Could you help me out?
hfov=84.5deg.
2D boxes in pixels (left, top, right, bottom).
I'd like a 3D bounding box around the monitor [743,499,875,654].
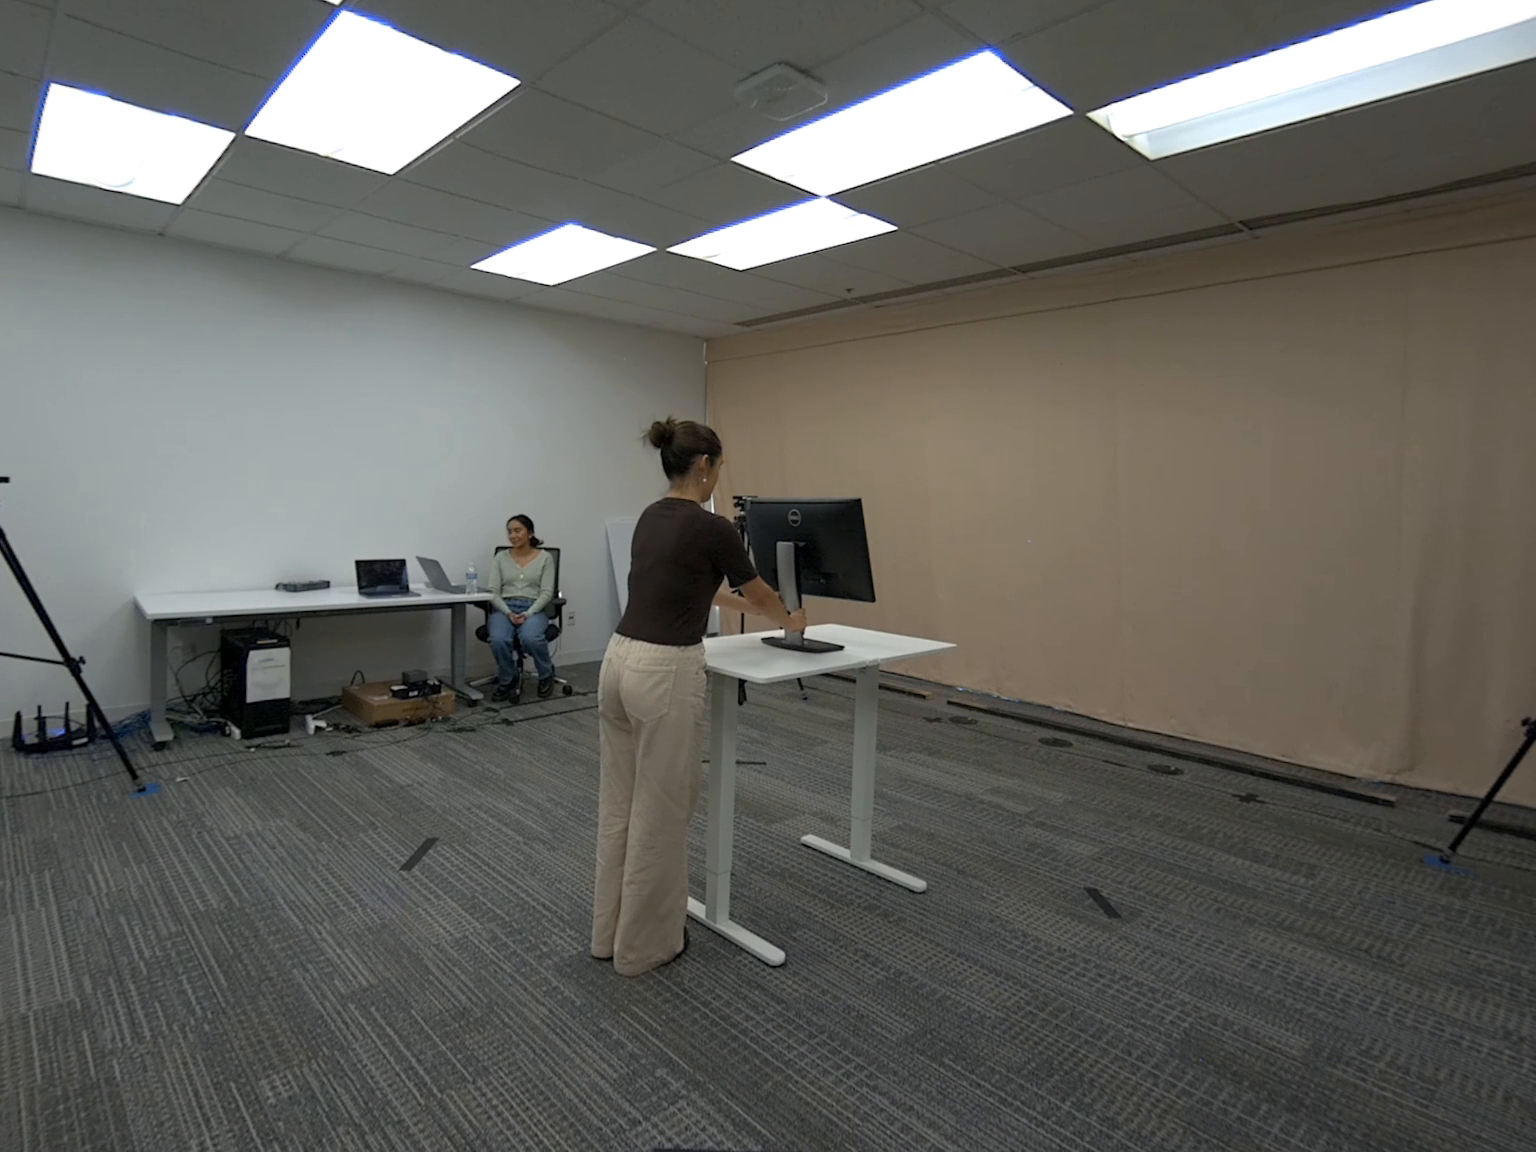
[{"bbox_3d":[0.105,-0.010,2.899,0.170,0.516,0.543,3,0,-45],"label":"monitor"}]
